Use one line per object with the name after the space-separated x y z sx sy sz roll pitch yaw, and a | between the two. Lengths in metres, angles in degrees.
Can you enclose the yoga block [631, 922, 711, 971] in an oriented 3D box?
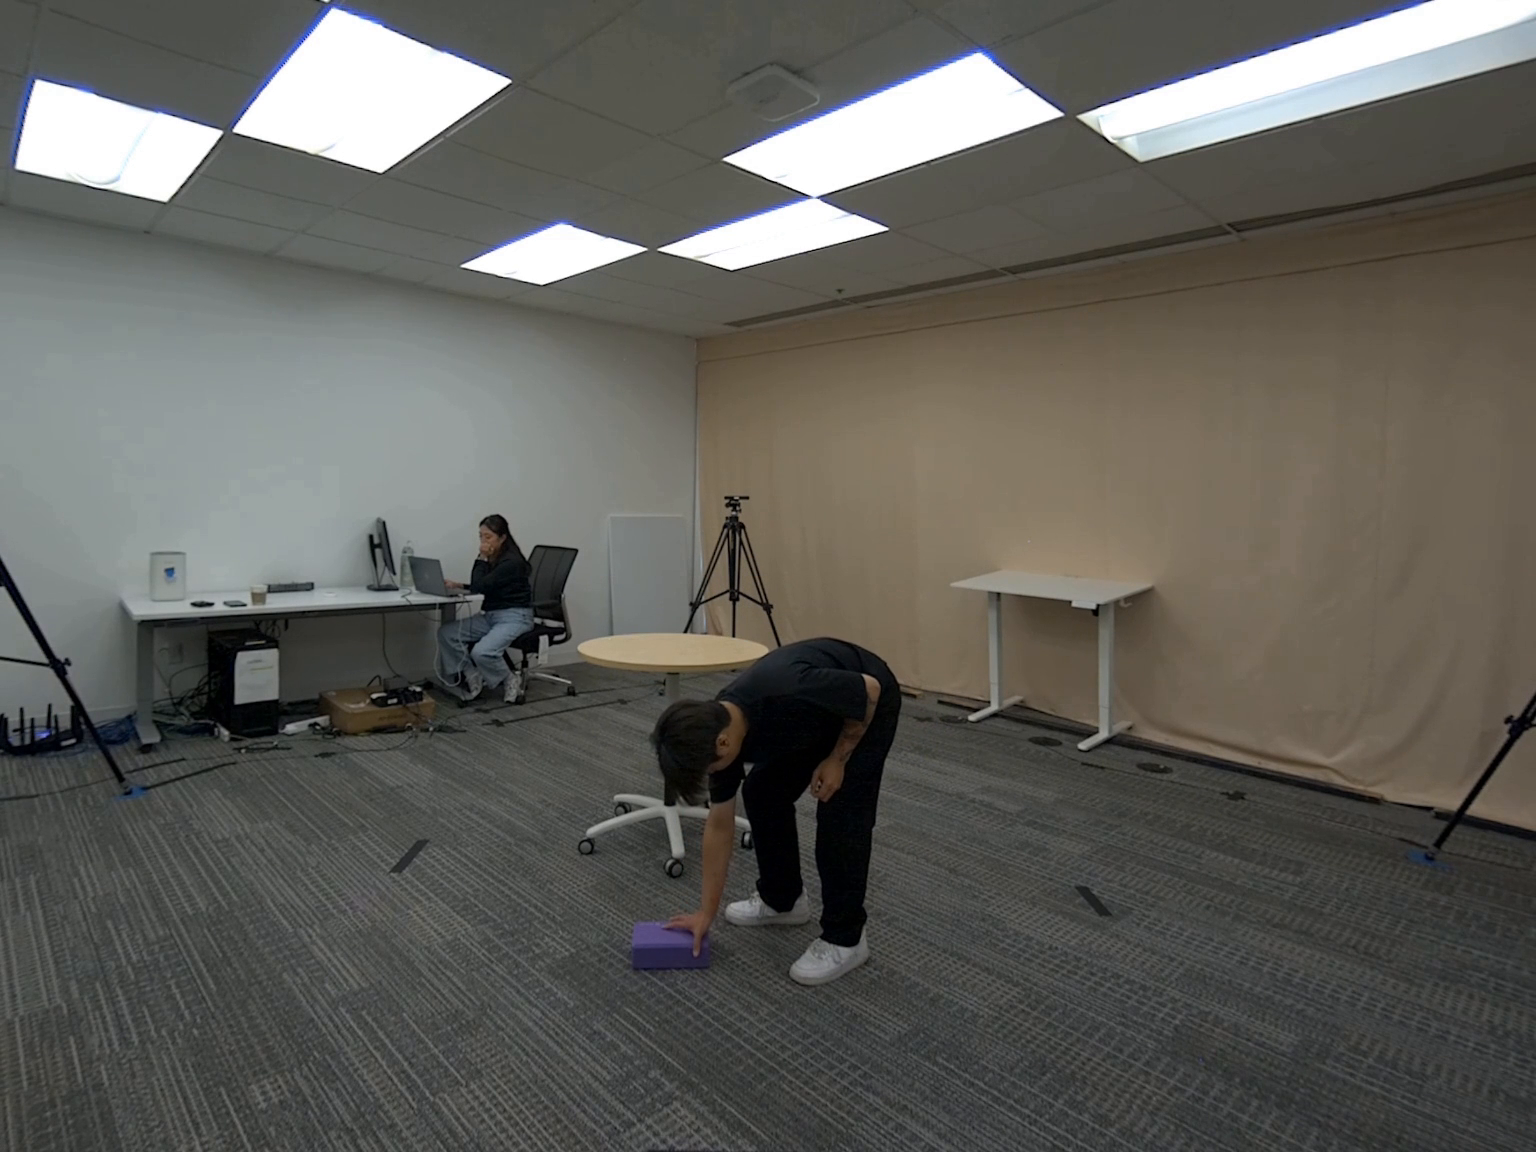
-0.295 1.108 2.542 0.228 0.076 0.150 0 3 -6 | yoga block
